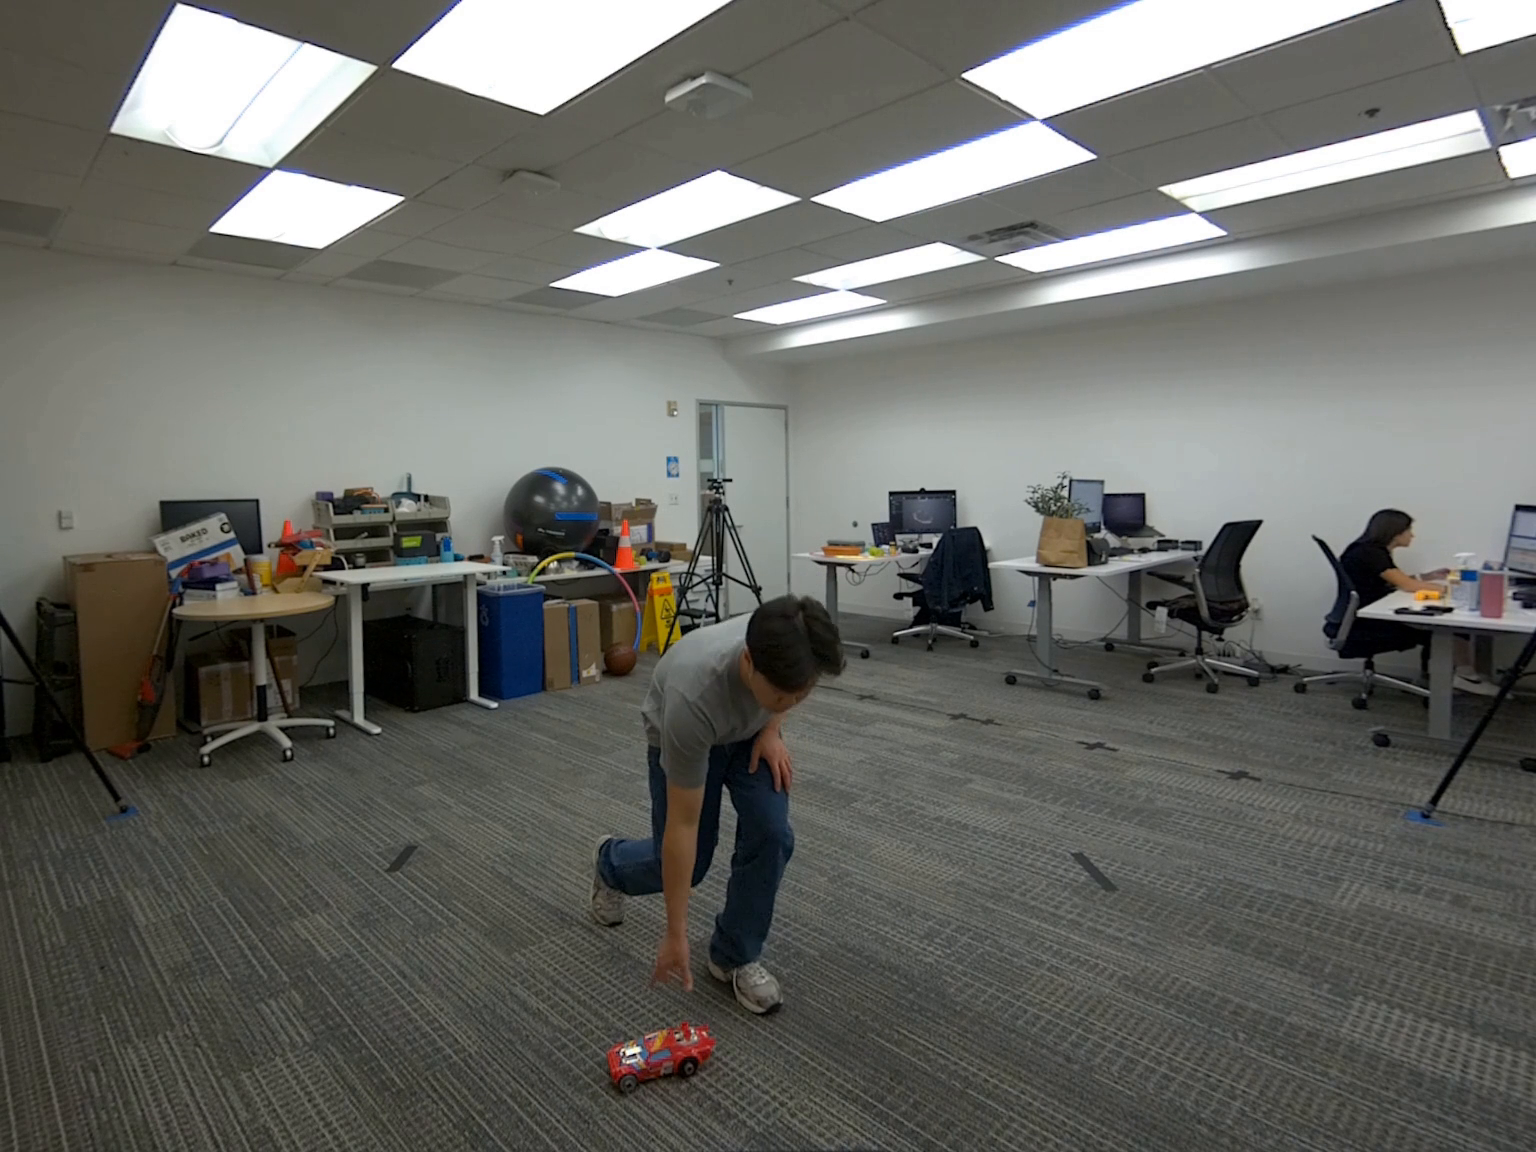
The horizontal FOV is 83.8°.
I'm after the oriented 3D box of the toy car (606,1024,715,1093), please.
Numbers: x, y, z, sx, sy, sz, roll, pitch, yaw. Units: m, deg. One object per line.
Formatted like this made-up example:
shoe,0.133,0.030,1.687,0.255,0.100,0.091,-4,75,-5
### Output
toy car,-0.249,1.152,2.035,0.251,0.082,0.133,-15,10,-17
